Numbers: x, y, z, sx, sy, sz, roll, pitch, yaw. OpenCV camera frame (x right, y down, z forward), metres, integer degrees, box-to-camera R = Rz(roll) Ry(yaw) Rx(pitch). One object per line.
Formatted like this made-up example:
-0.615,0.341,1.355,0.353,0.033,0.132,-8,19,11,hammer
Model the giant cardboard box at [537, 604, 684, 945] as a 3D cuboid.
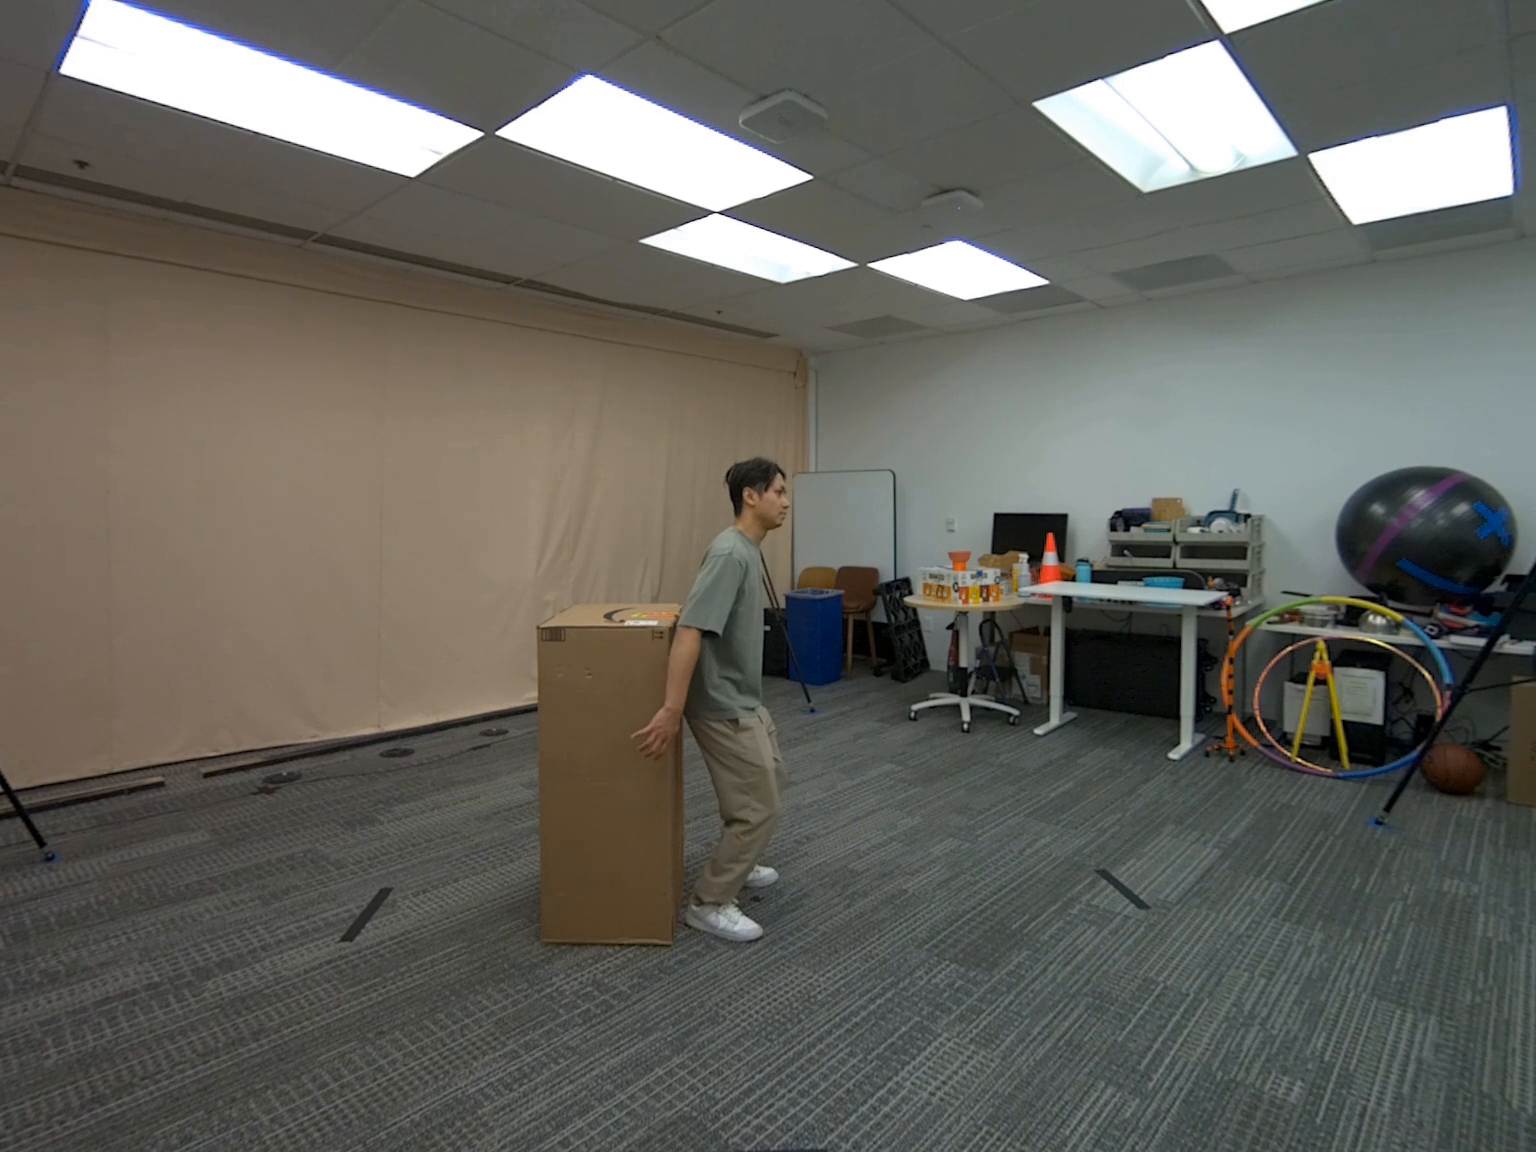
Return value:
-0.526,0.645,2.936,0.427,1.024,0.578,0,3,0,giant cardboard box
